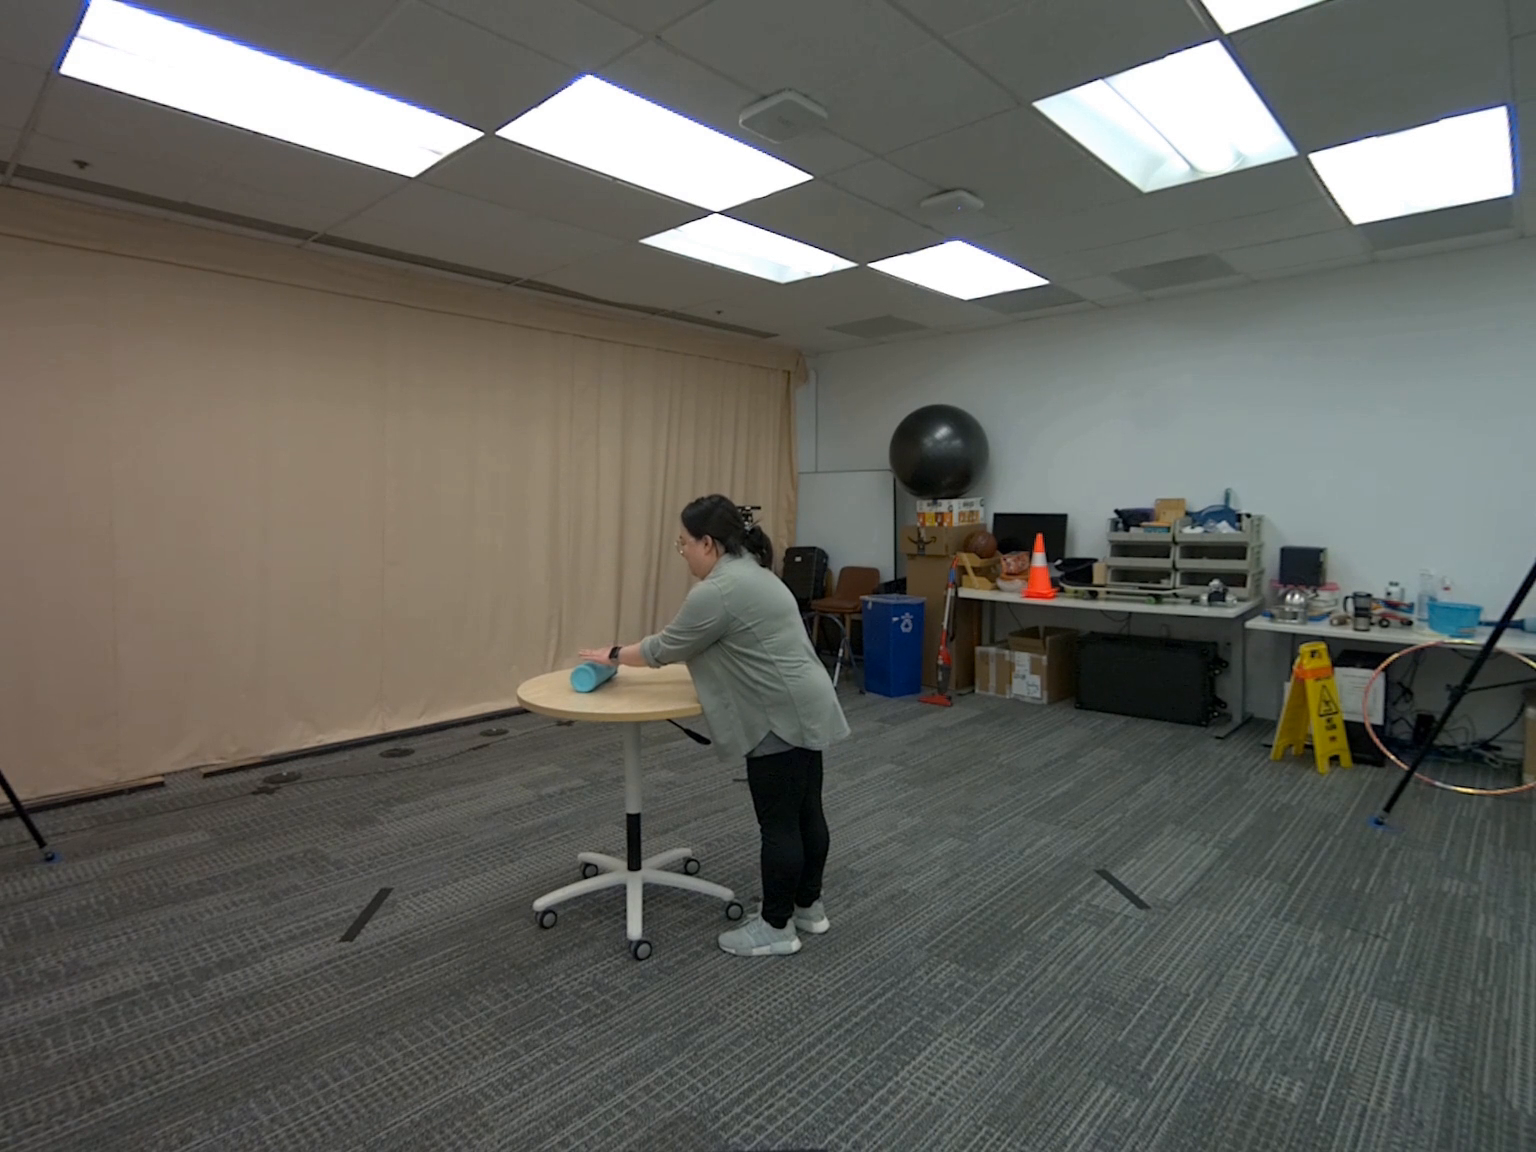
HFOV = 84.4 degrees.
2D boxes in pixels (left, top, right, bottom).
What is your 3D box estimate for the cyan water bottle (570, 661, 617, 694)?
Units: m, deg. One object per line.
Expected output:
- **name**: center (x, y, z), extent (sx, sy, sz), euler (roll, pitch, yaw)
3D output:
- **cyan water bottle**: center (-0.581, 0.330, 2.899), extent (0.093, 0.092, 0.281), euler (0, 5, 8)
